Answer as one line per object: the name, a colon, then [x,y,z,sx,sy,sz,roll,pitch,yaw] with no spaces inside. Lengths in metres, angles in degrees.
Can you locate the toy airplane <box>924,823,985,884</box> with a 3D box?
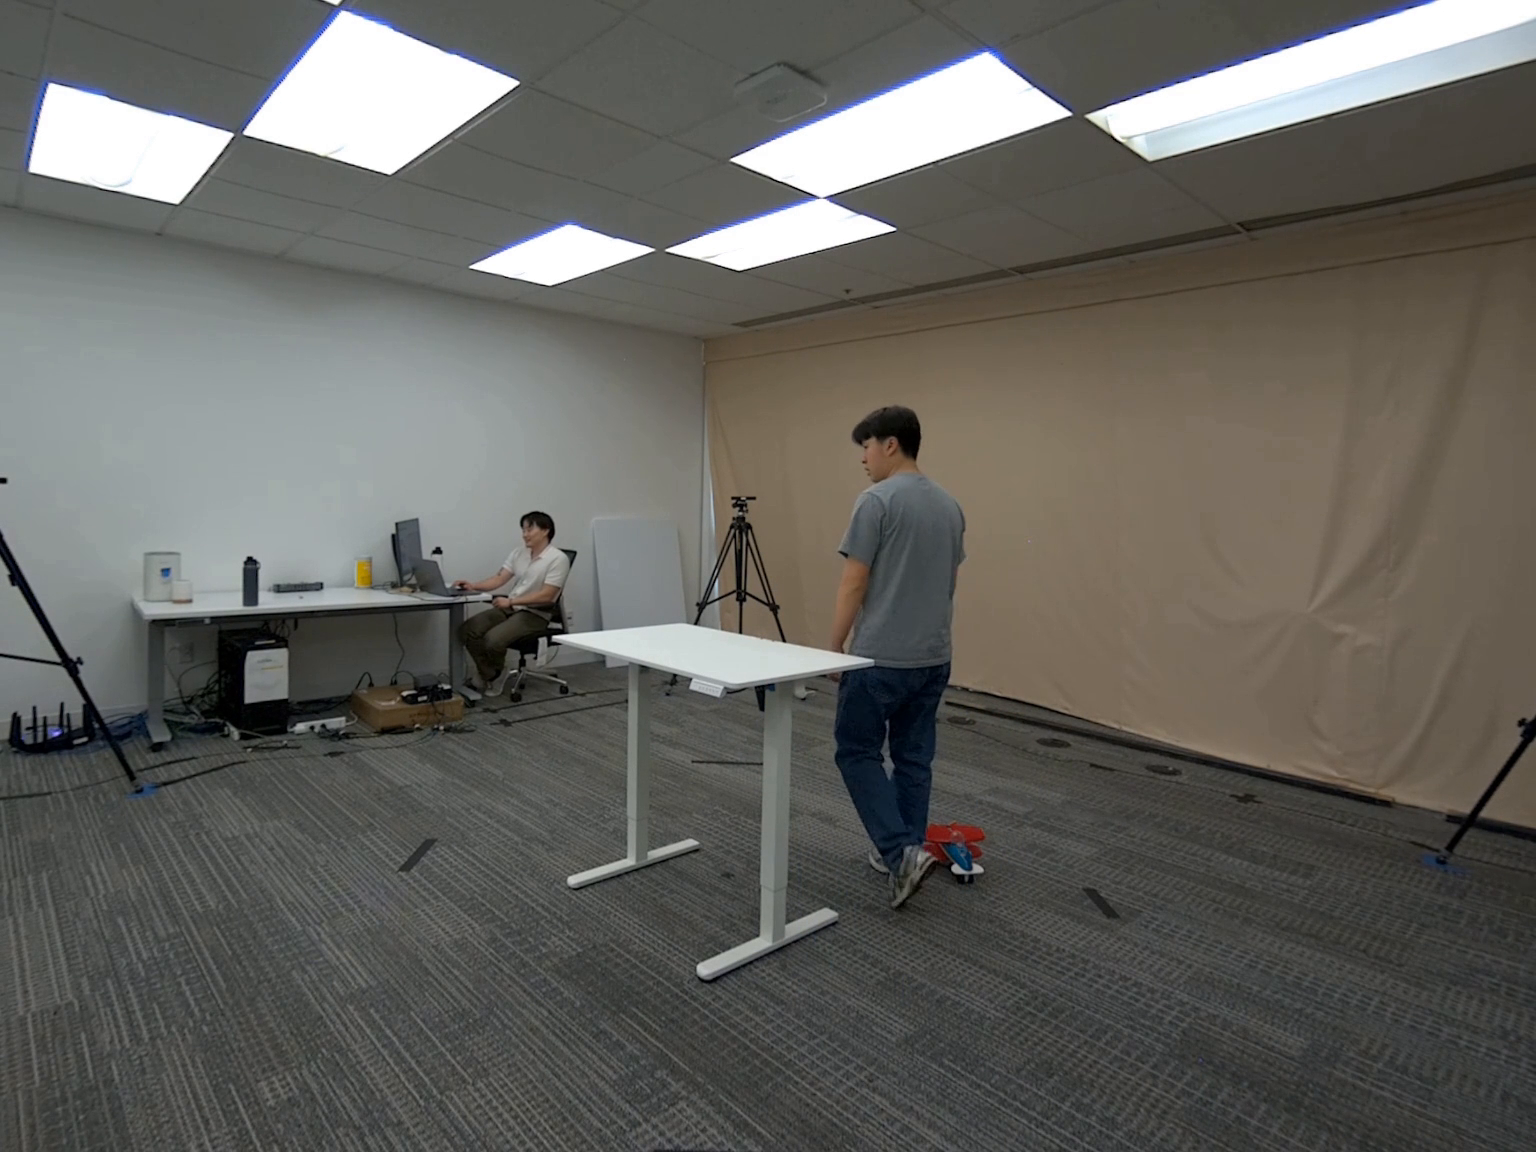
toy airplane: [0.722,1.048,3.188,0.245,0.156,0.266,-2,5,-40]
